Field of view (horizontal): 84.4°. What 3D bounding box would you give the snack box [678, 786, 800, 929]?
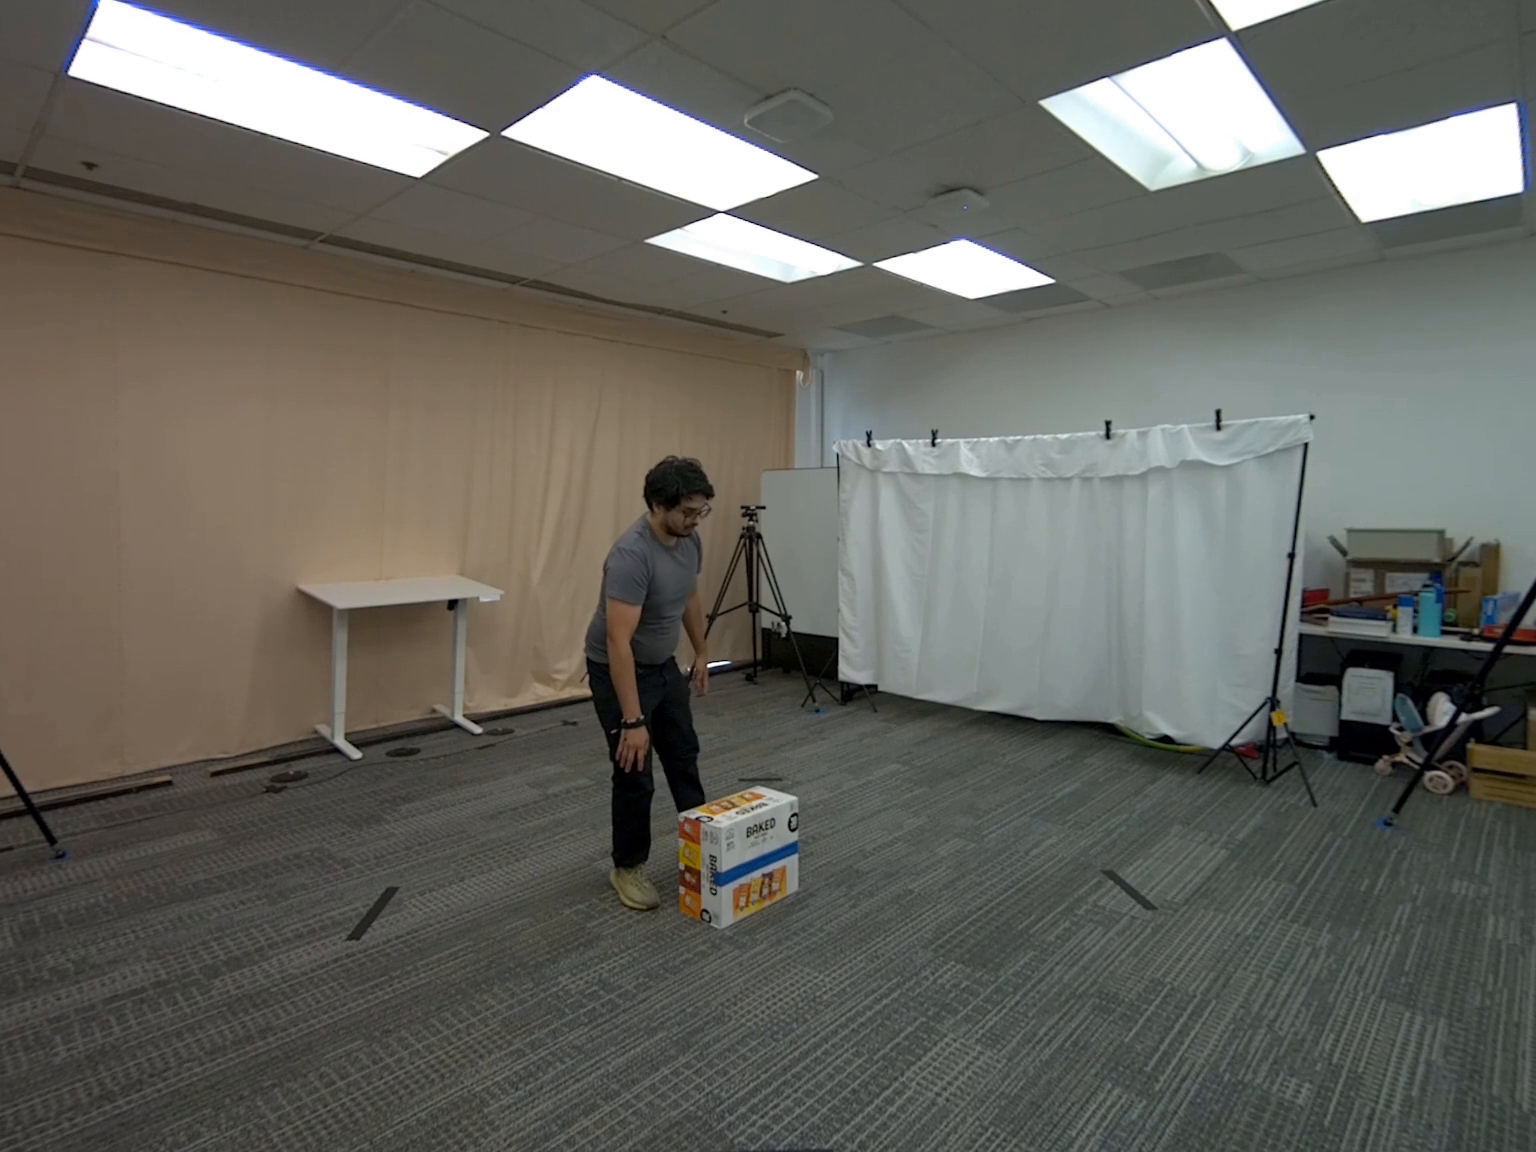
[{"bbox_3d":[-0.093,0.977,2.967,0.212,0.340,0.393,3,4,43],"label":"snack box"}]
